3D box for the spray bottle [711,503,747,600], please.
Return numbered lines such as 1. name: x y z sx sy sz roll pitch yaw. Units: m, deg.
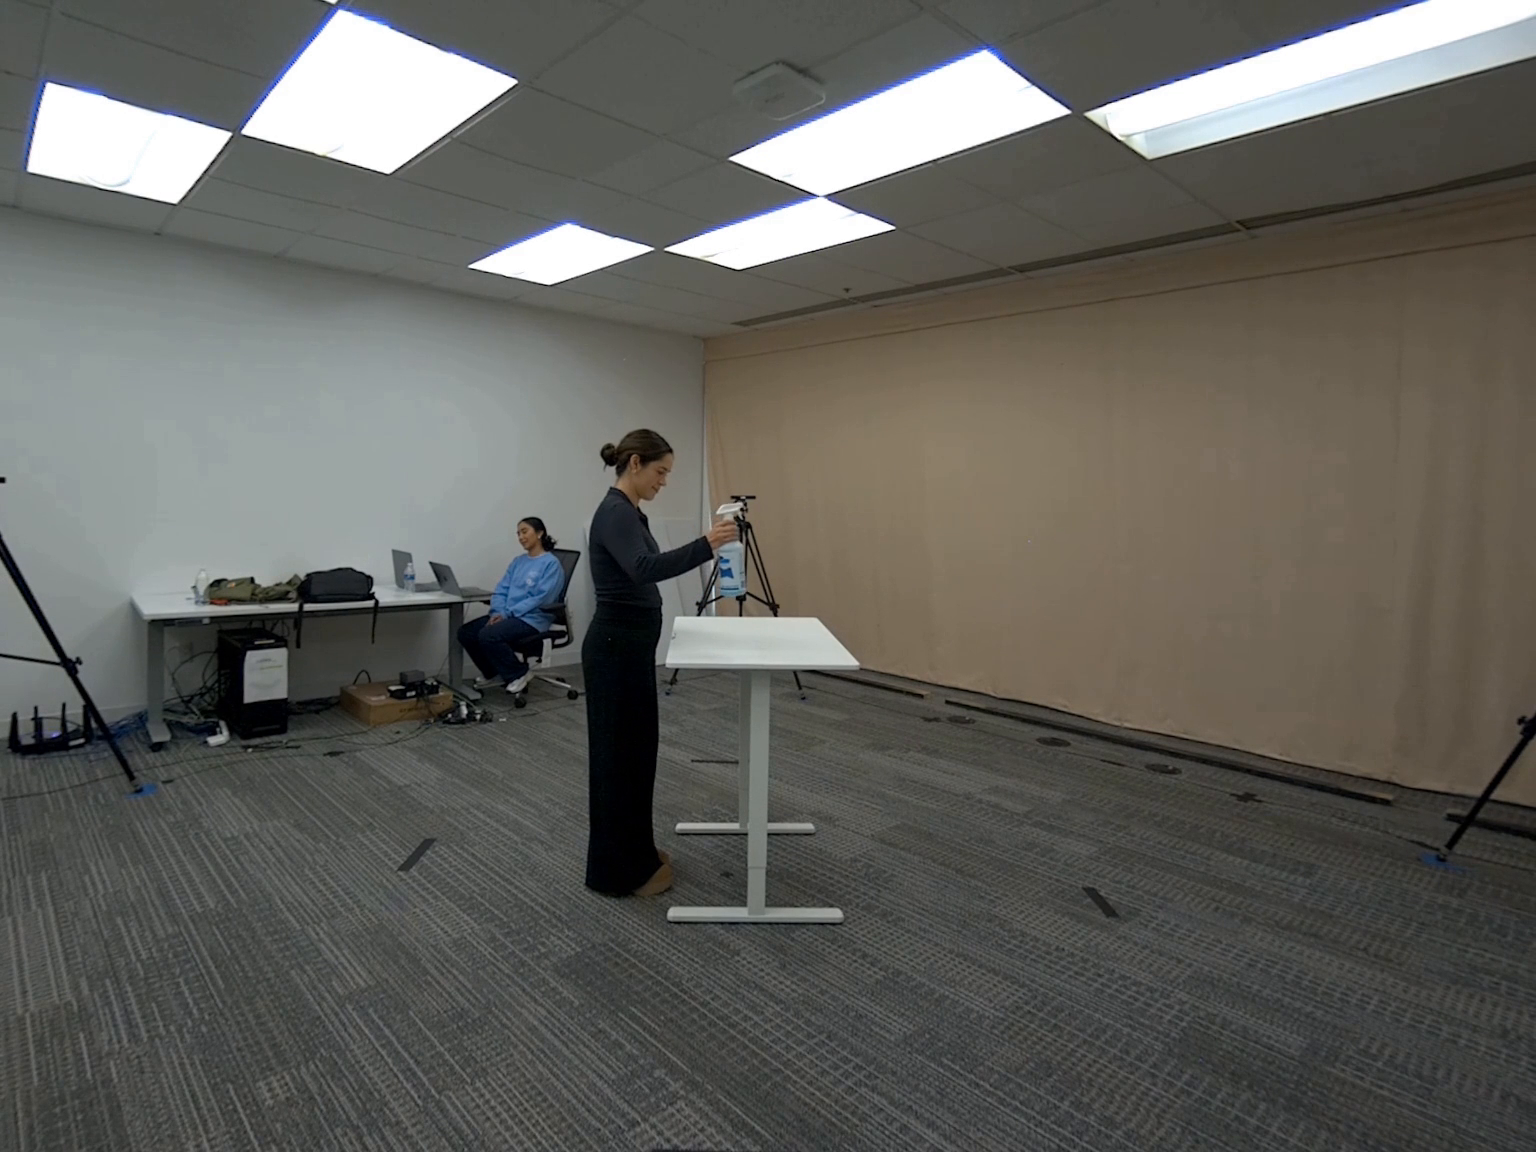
1. spray bottle: -0.126 -0.082 2.720 0.090 0.296 0.087 -1 5 7
